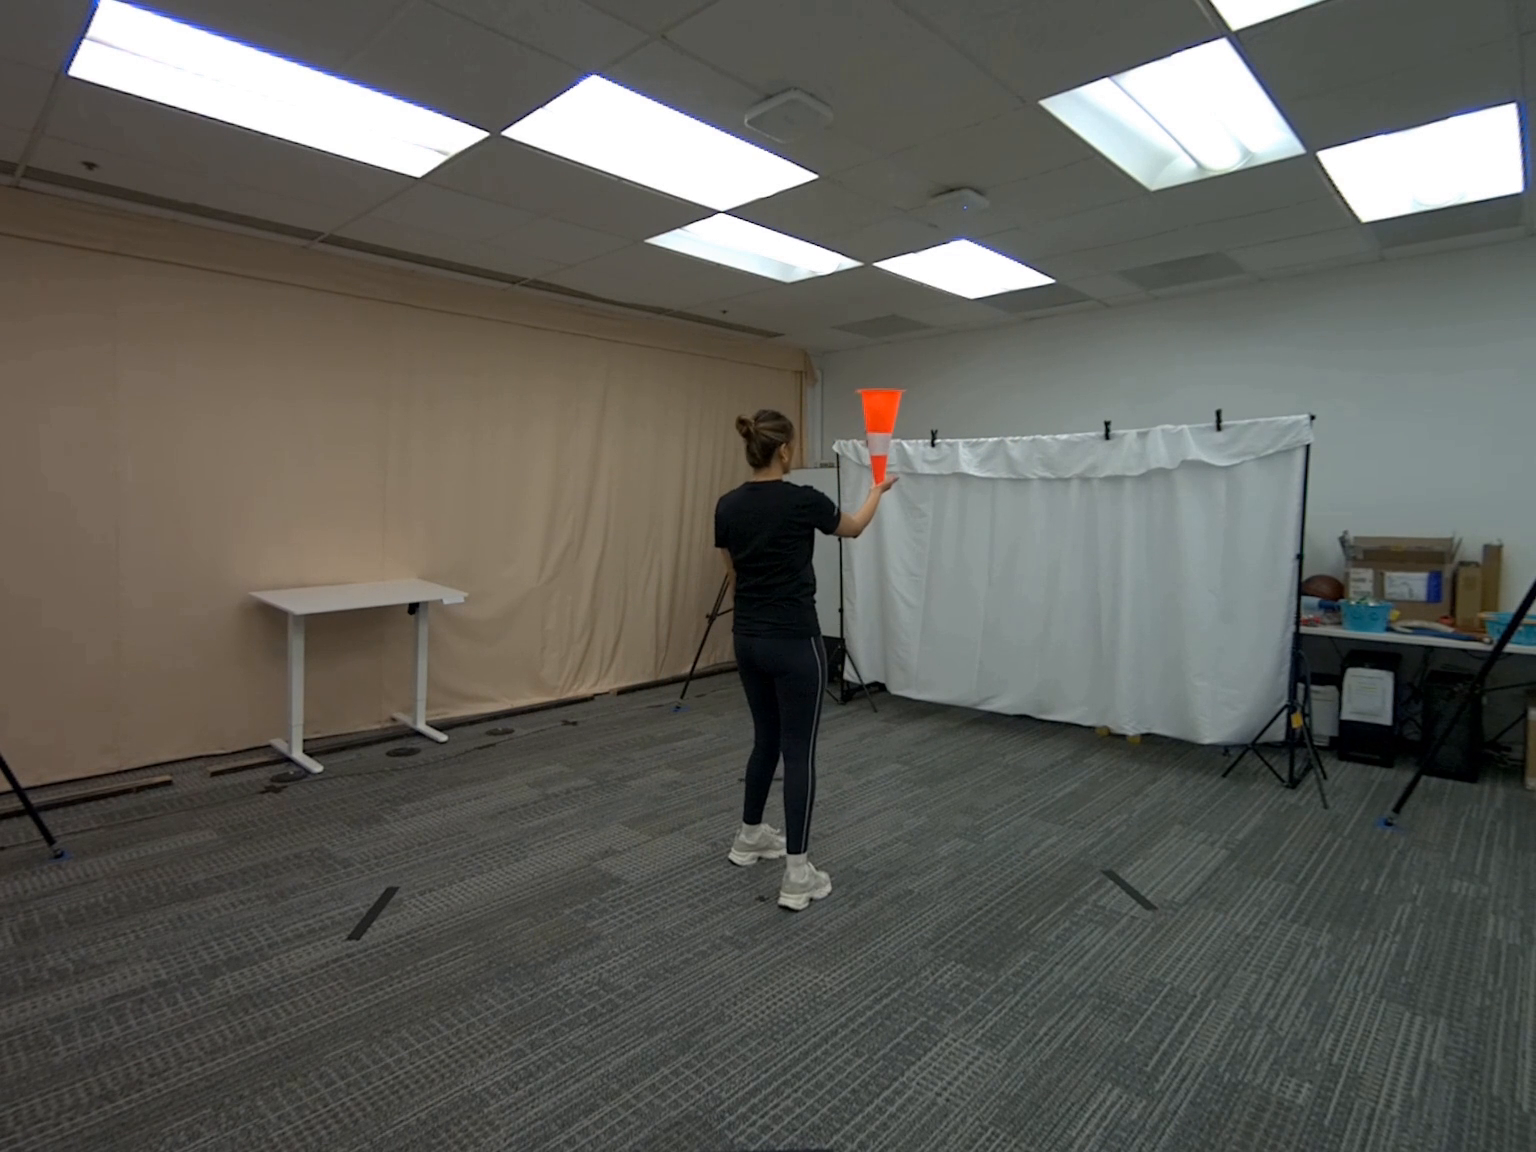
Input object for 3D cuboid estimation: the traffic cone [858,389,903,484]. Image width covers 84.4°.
[{"bbox_3d":[0.463,-0.557,3.403,0.199,0.382,0.210,-5,9,-33],"label":"traffic cone"}]
